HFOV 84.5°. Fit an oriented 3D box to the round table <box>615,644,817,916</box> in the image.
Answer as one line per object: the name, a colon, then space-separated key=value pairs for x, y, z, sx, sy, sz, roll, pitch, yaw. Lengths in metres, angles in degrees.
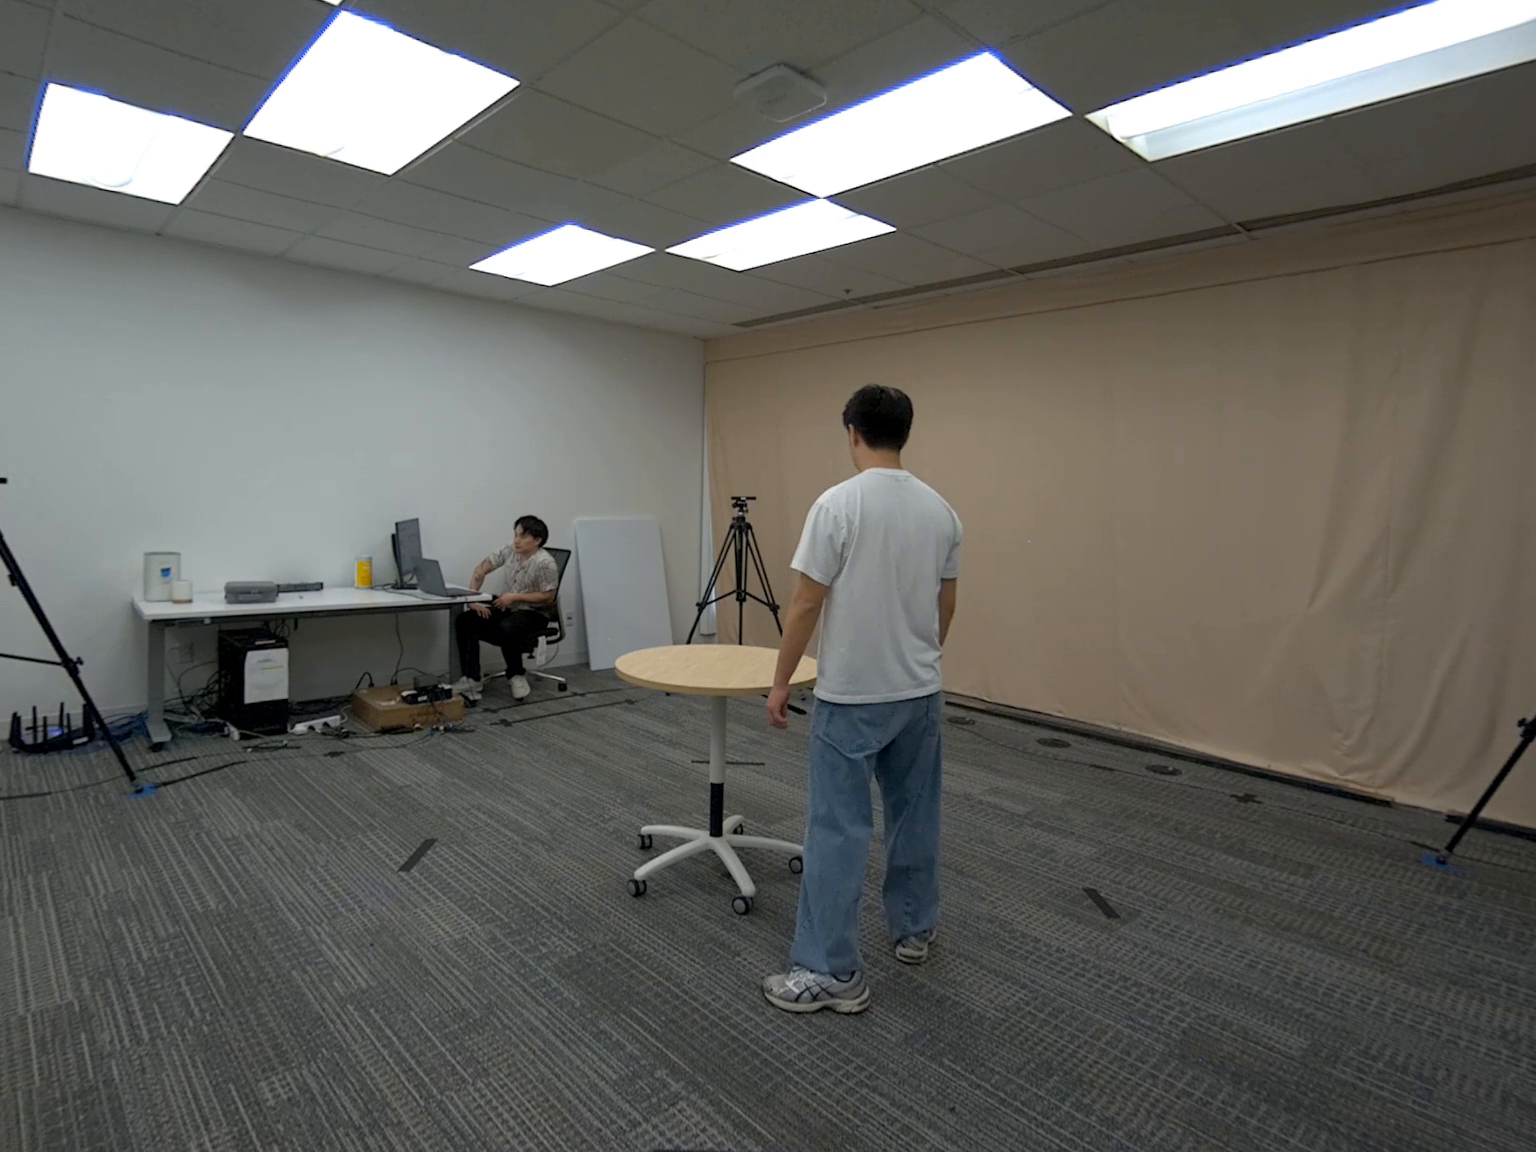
round table: x=-0.192 y=0.716 z=3.107 sx=0.763 sy=0.792 sz=0.767 roll=1 pitch=4 yaw=-1
